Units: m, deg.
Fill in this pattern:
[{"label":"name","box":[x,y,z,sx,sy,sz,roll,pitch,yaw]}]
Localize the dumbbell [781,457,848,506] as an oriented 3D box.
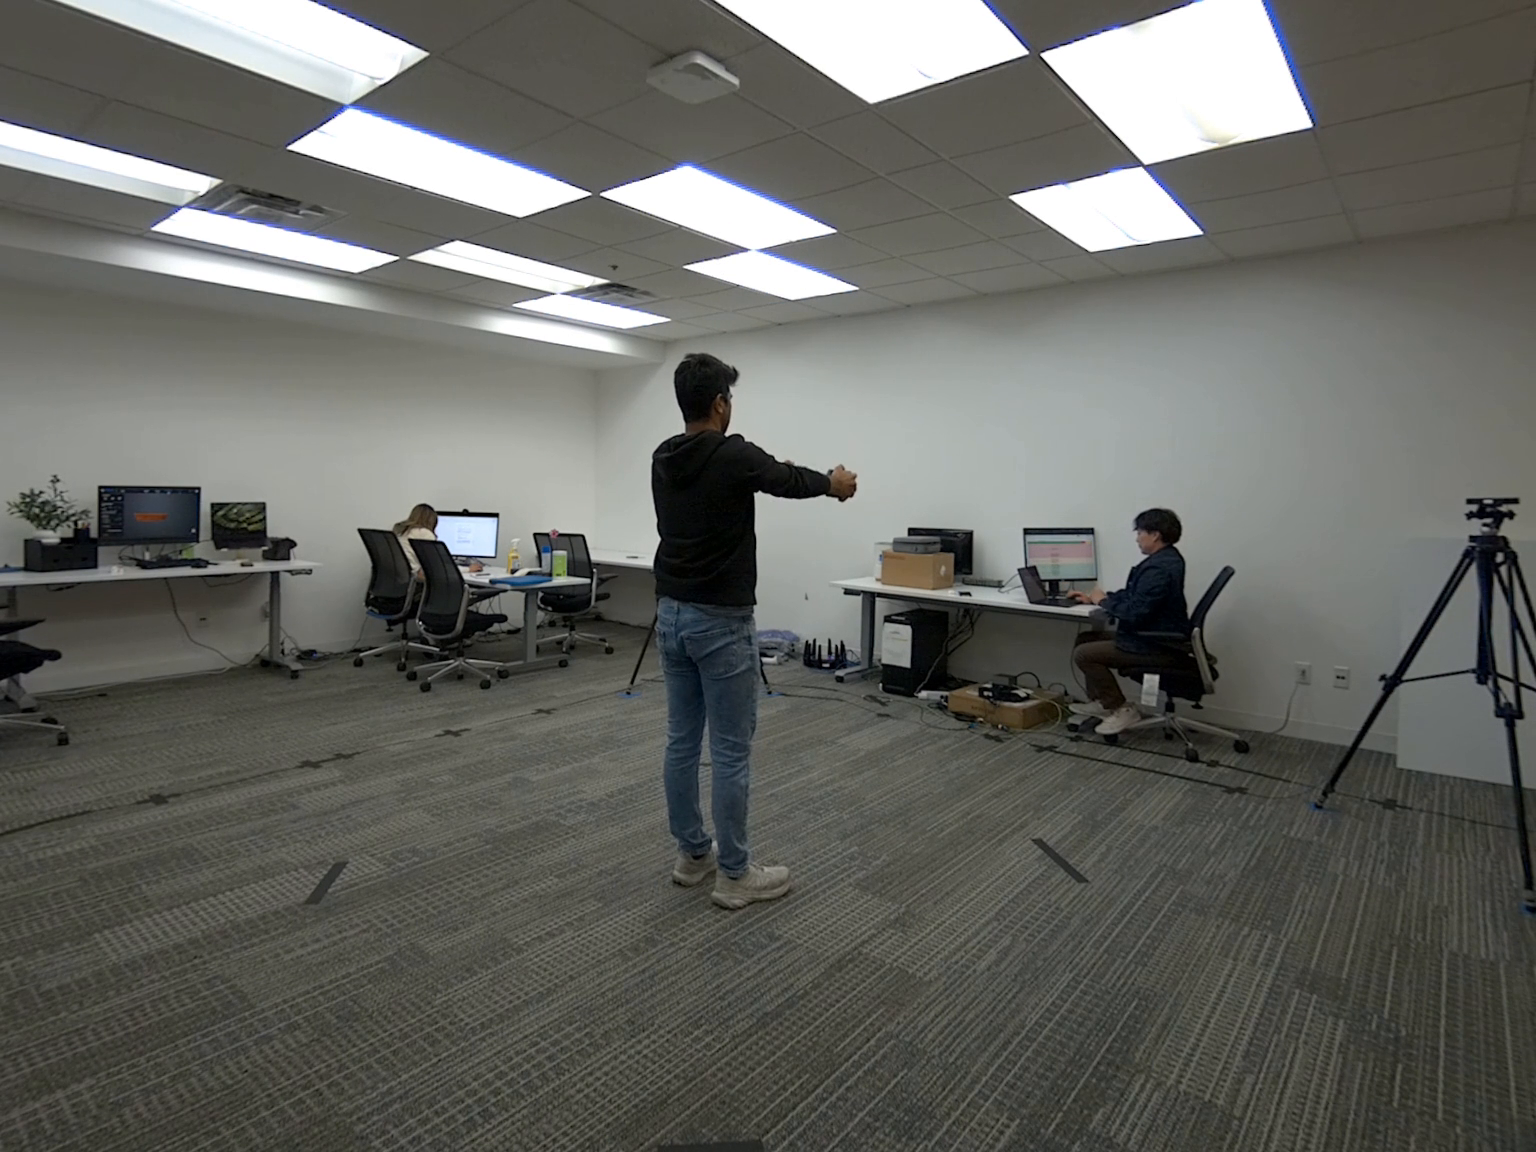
[{"label":"dumbbell","box":[0.171,-0.379,3.331,0.304,0.123,0.104,12,-26,42]}]
